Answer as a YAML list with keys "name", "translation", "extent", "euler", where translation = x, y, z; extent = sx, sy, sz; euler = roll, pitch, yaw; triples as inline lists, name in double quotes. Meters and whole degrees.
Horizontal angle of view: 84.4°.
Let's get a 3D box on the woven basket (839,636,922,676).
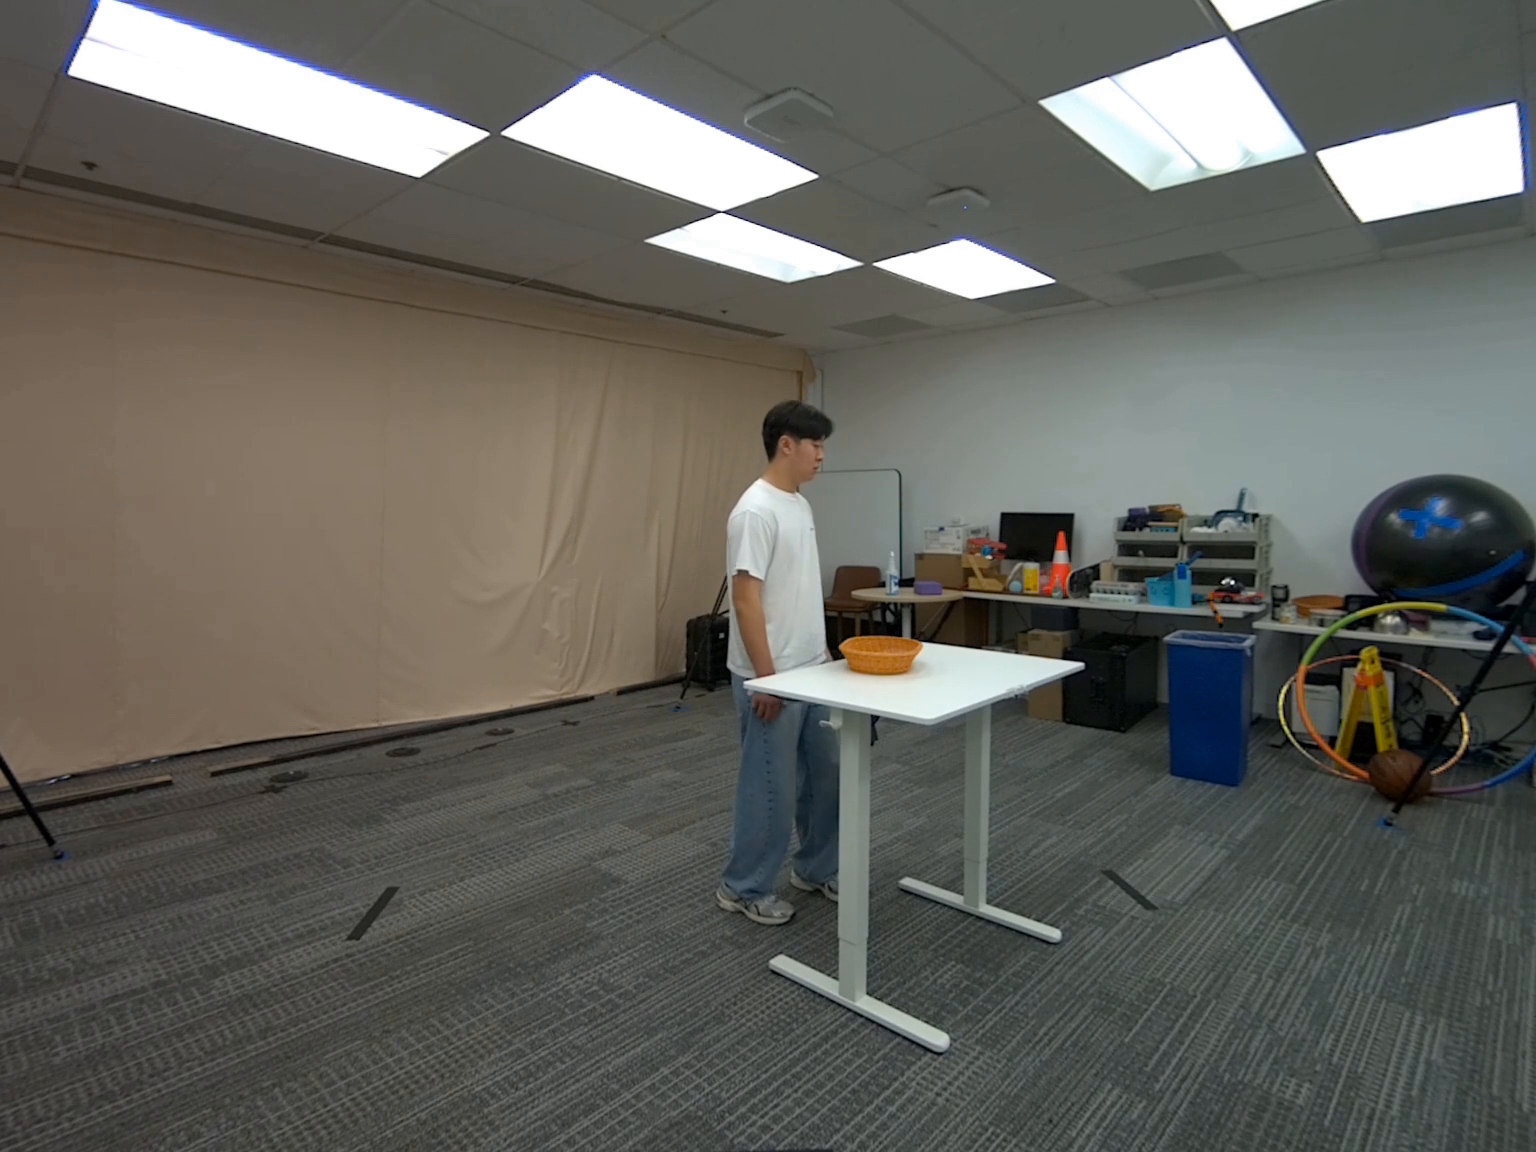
- name: "woven basket"
  translation: [0.373, 0.257, 2.641]
  extent: [0.258, 0.073, 0.343]
  euler: [1, 5, 21]
